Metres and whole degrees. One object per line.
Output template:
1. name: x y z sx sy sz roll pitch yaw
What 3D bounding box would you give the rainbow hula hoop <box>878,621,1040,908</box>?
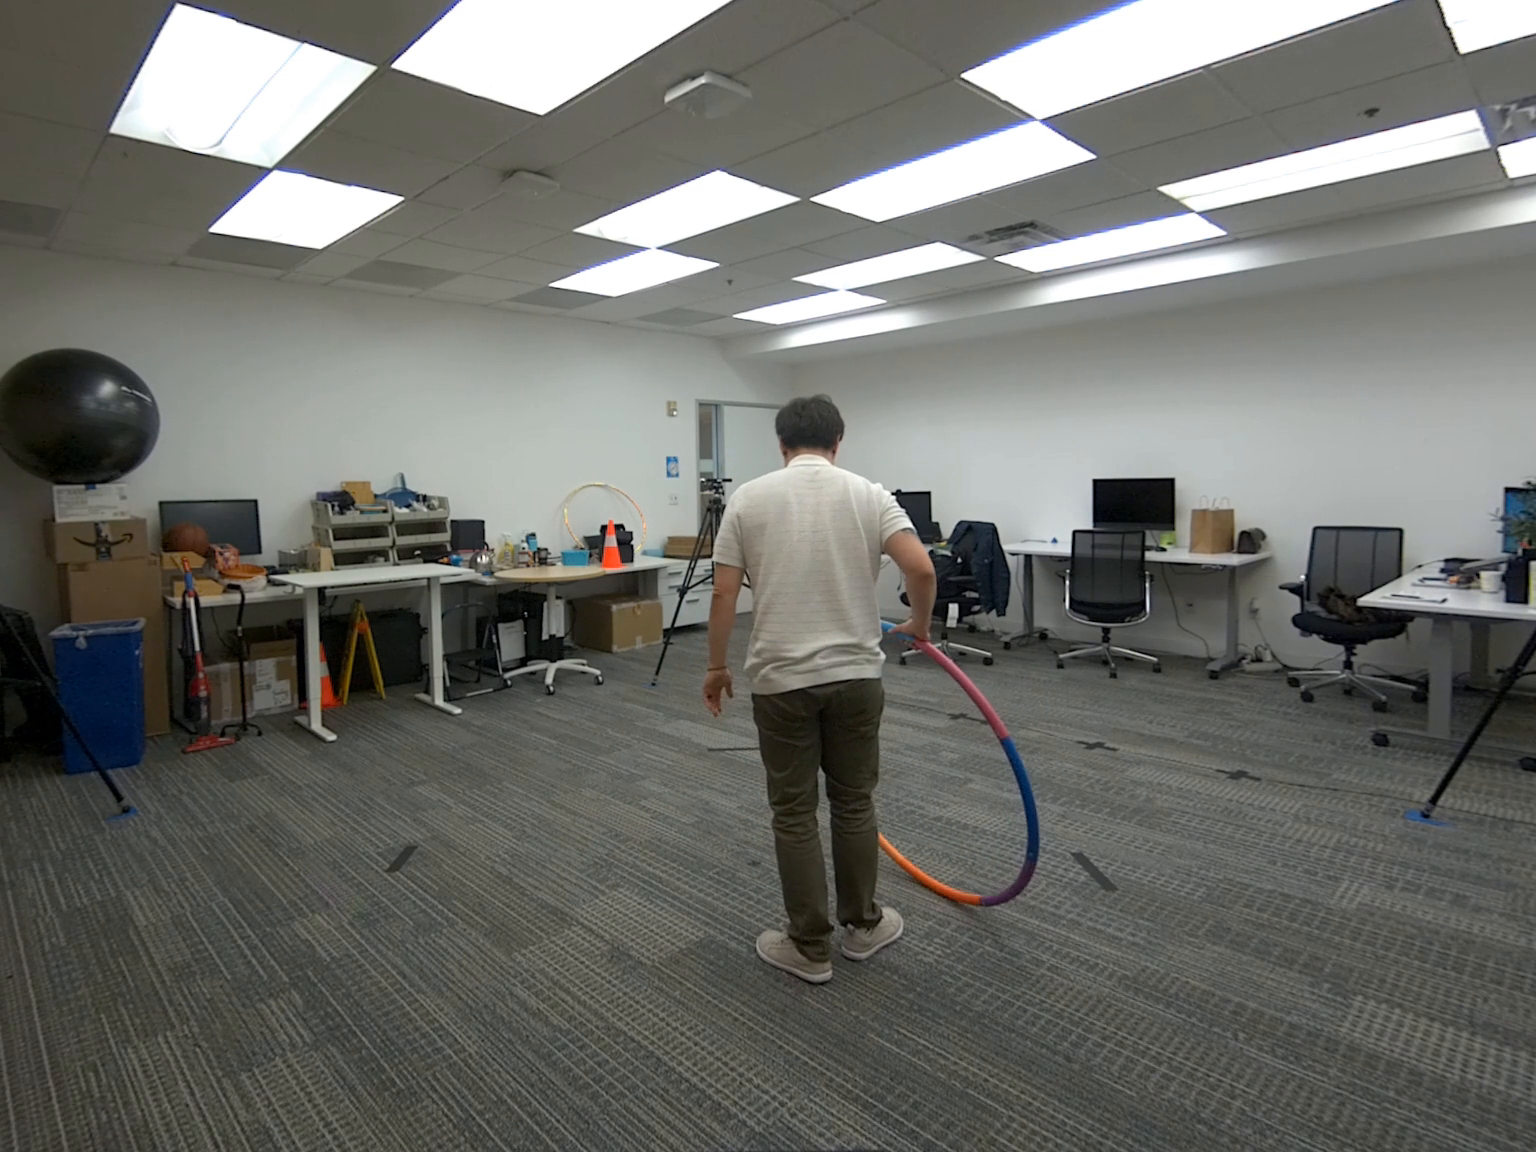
1. rainbow hula hoop: 0.444 0.599 2.783 0.035 0.965 1.007 -22 15 -30
